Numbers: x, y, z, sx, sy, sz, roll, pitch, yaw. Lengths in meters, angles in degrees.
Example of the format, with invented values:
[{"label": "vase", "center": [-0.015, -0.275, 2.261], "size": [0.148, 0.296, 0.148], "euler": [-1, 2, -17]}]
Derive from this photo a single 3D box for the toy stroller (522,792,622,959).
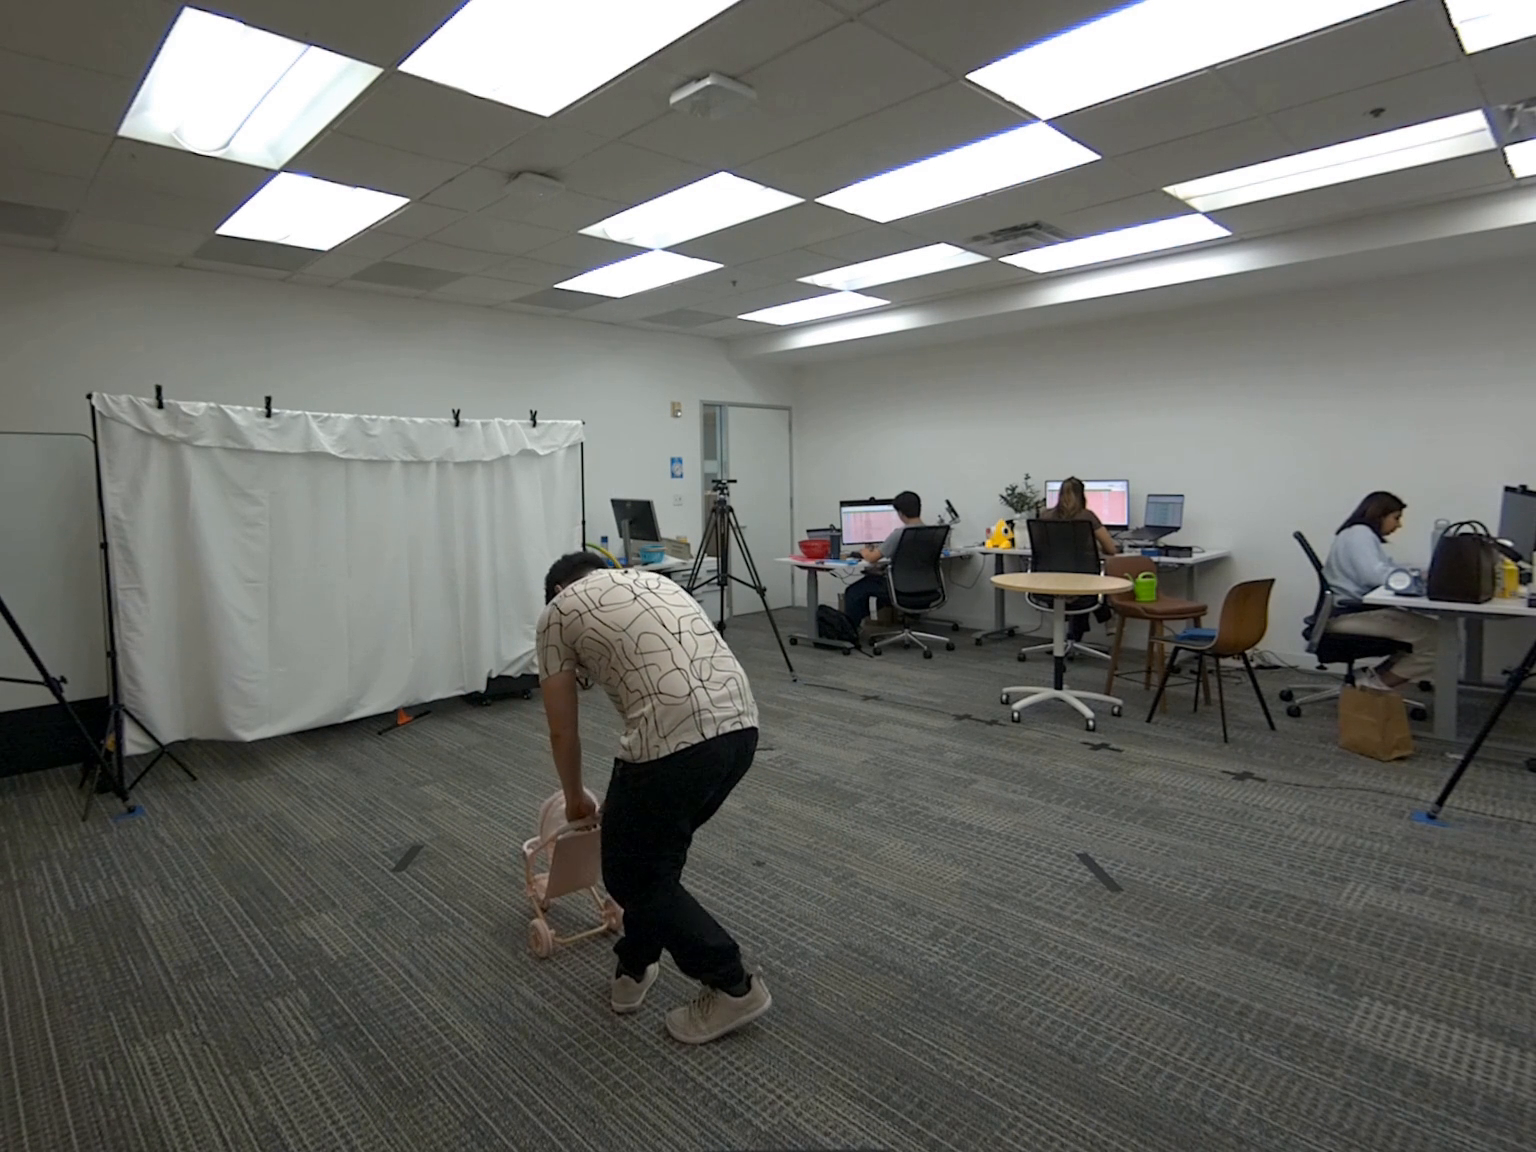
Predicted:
[{"label": "toy stroller", "center": [-0.615, 0.888, 2.643], "size": [0.274, 0.528, 0.354], "euler": [-3, 21, -33]}]
